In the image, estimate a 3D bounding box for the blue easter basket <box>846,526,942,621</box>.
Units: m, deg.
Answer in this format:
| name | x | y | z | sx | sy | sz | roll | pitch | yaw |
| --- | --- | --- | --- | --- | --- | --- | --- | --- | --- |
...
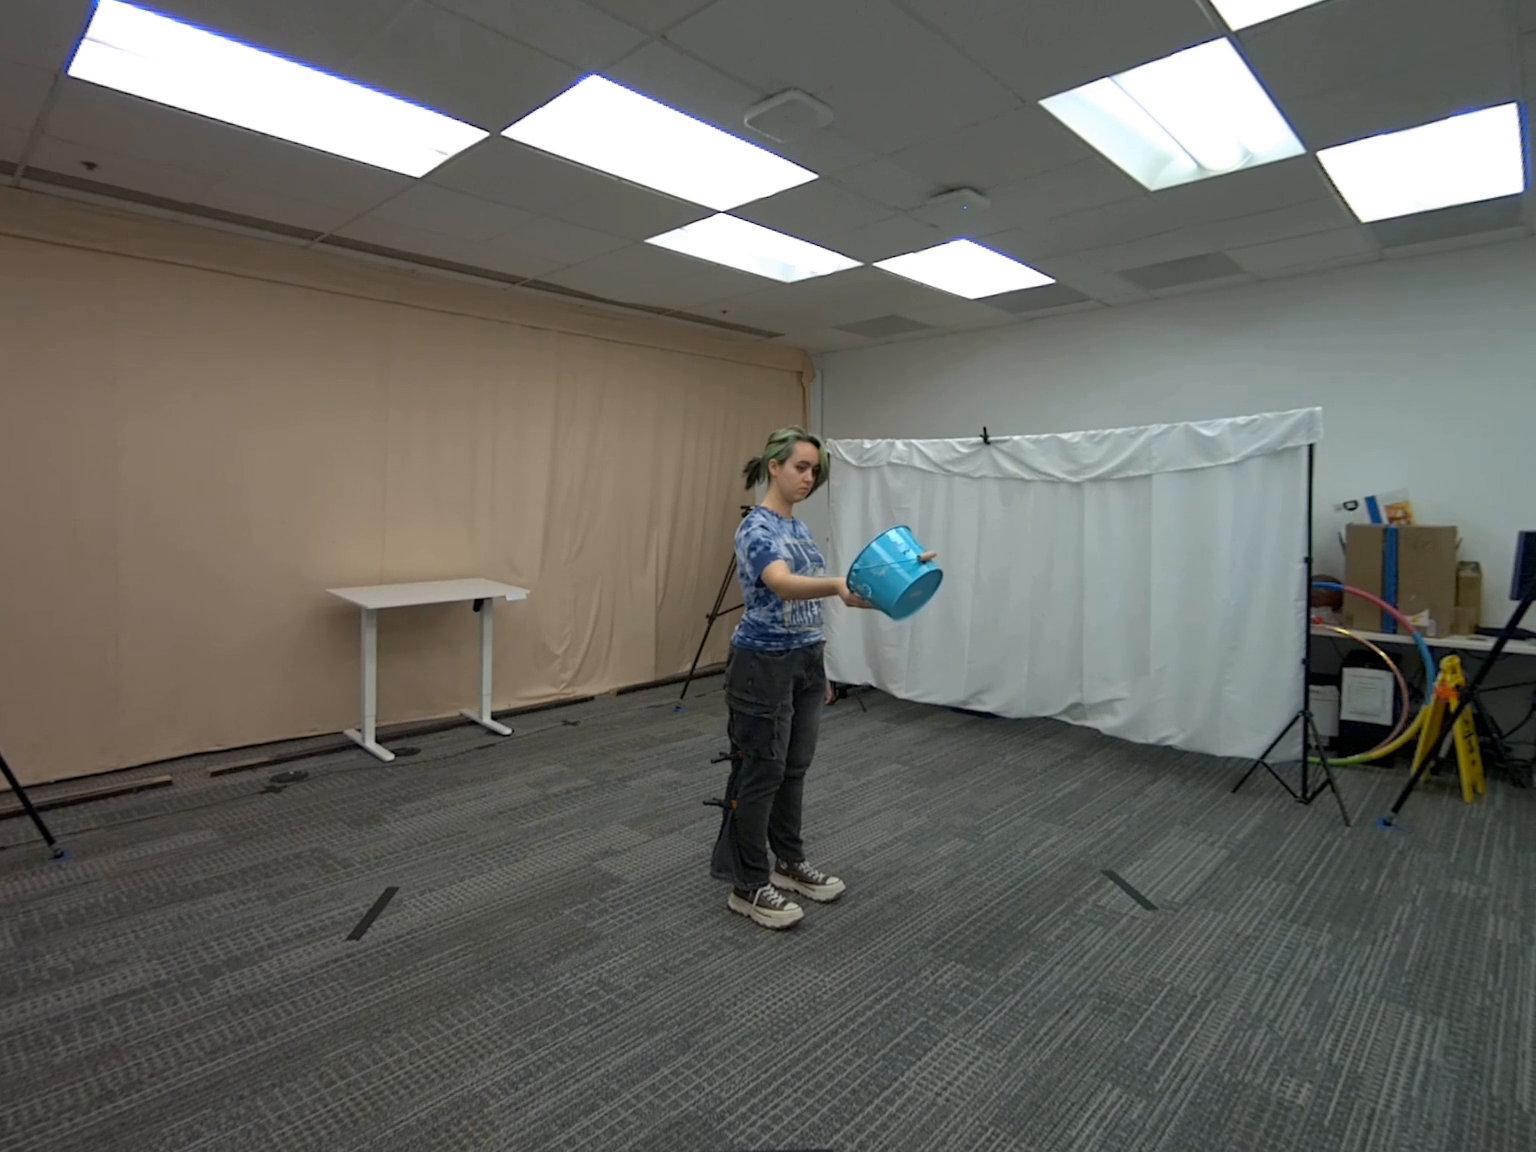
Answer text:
| name | x | y | z | sx | sy | sz | roll | pitch | yaw |
| --- | --- | --- | --- | --- | --- | --- | --- | --- | --- |
| blue easter basket | 0.344 | 0.014 | 2.234 | 0.236 | 0.243 | 0.161 | -4 | 43 | -45 |
